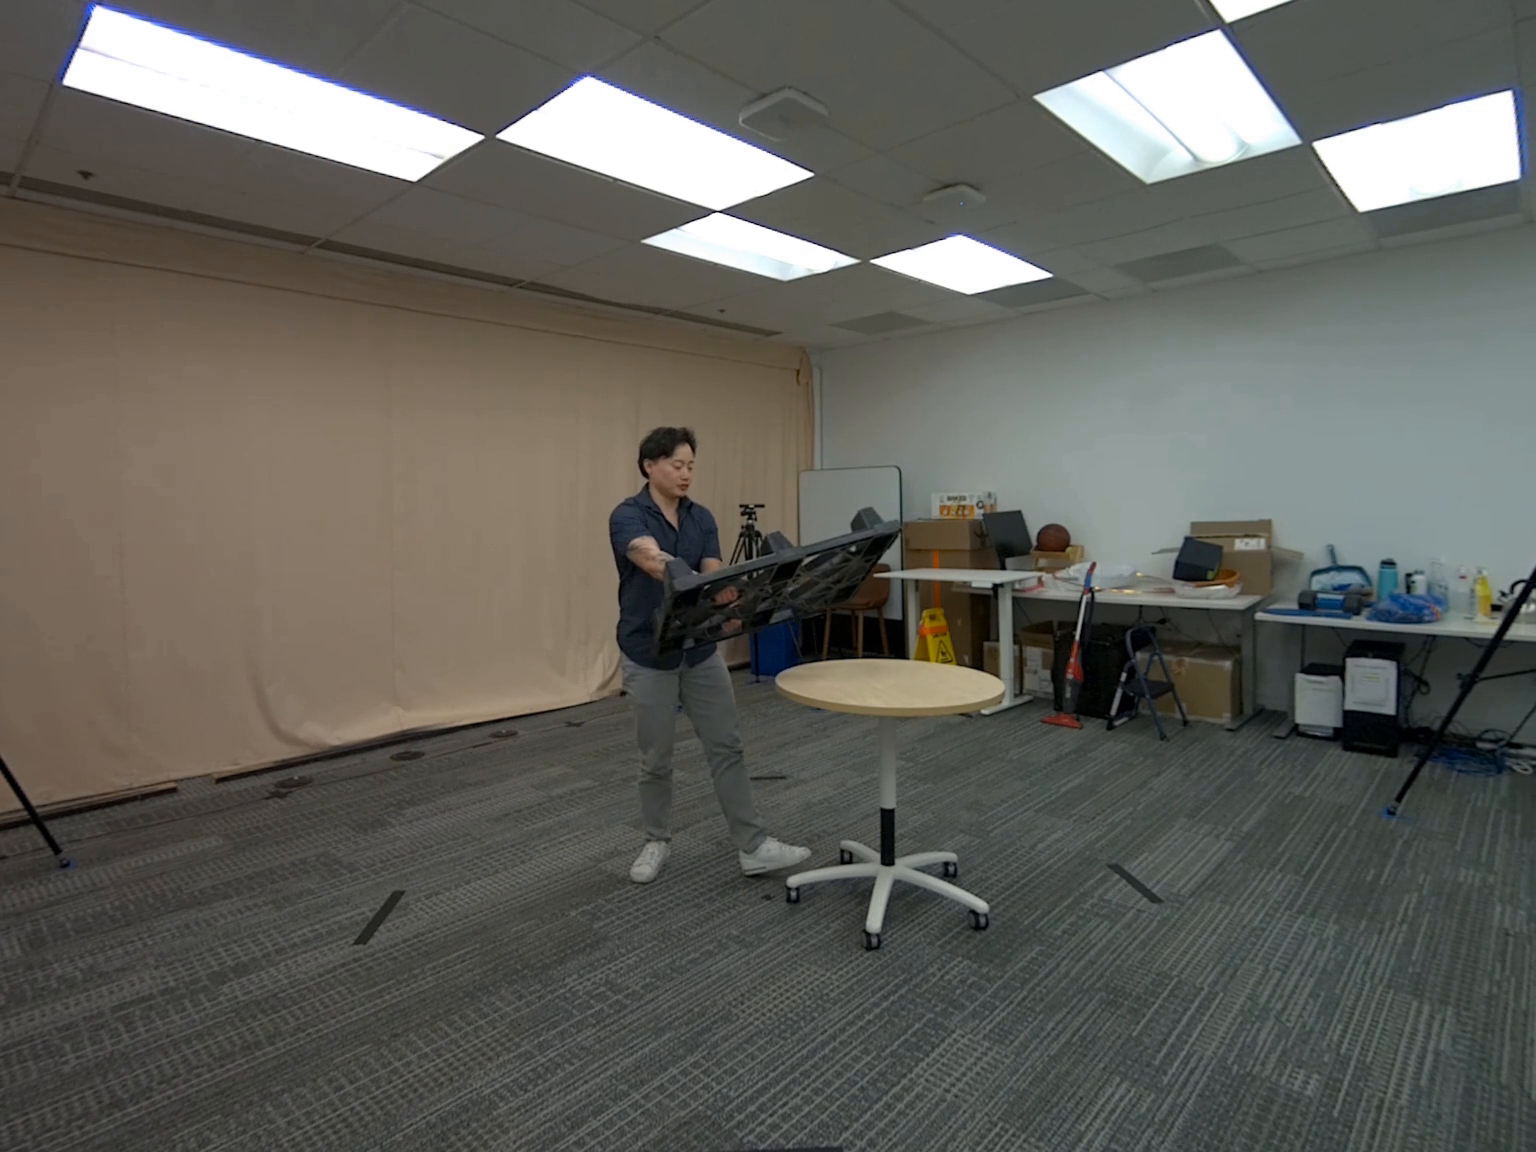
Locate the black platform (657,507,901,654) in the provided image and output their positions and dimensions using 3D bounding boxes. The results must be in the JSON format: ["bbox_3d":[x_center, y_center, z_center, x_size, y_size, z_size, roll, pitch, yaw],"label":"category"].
[{"bbox_3d":[-0.003,0.023,2.863,0.793,0.146,0.601,-16,-23,-18],"label":"black platform"}]
